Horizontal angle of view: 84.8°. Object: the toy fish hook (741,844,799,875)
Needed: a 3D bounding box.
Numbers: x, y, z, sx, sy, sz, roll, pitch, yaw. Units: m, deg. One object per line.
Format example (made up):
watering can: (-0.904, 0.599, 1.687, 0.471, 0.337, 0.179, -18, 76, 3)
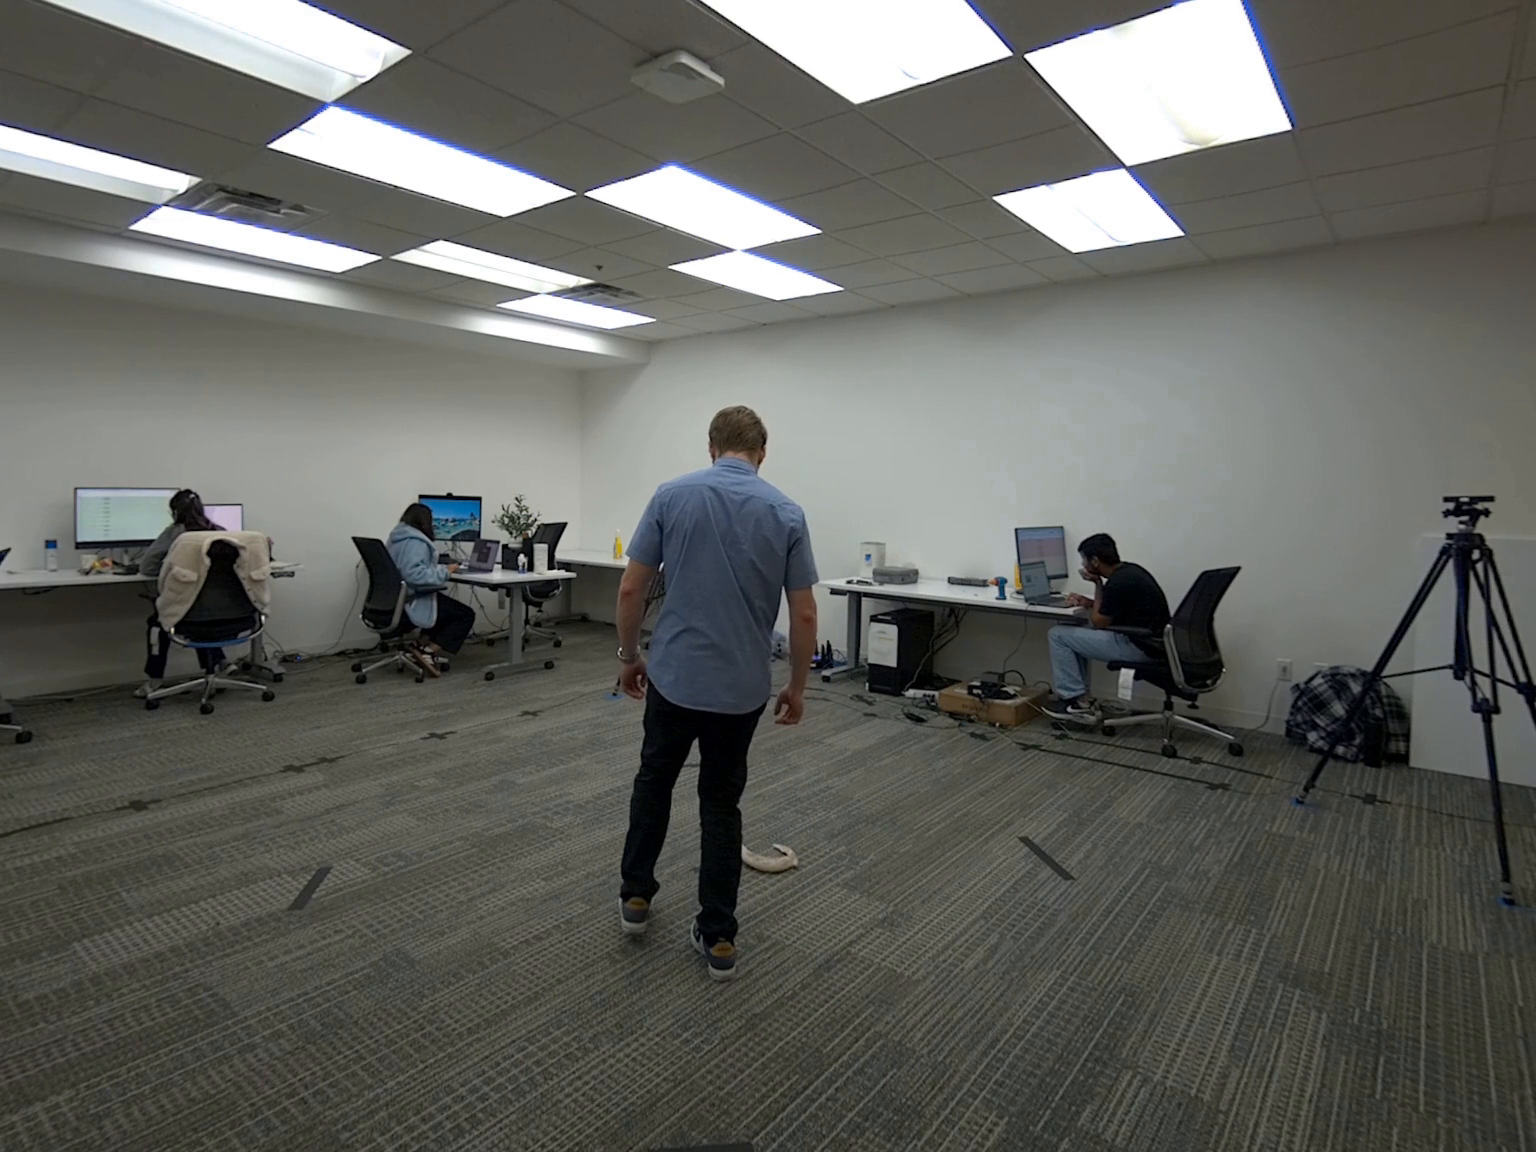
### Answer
toy fish hook: (-0.087, 1.035, 3.312, 0.217, 0.048, 0.524, 7, 2, -36)
